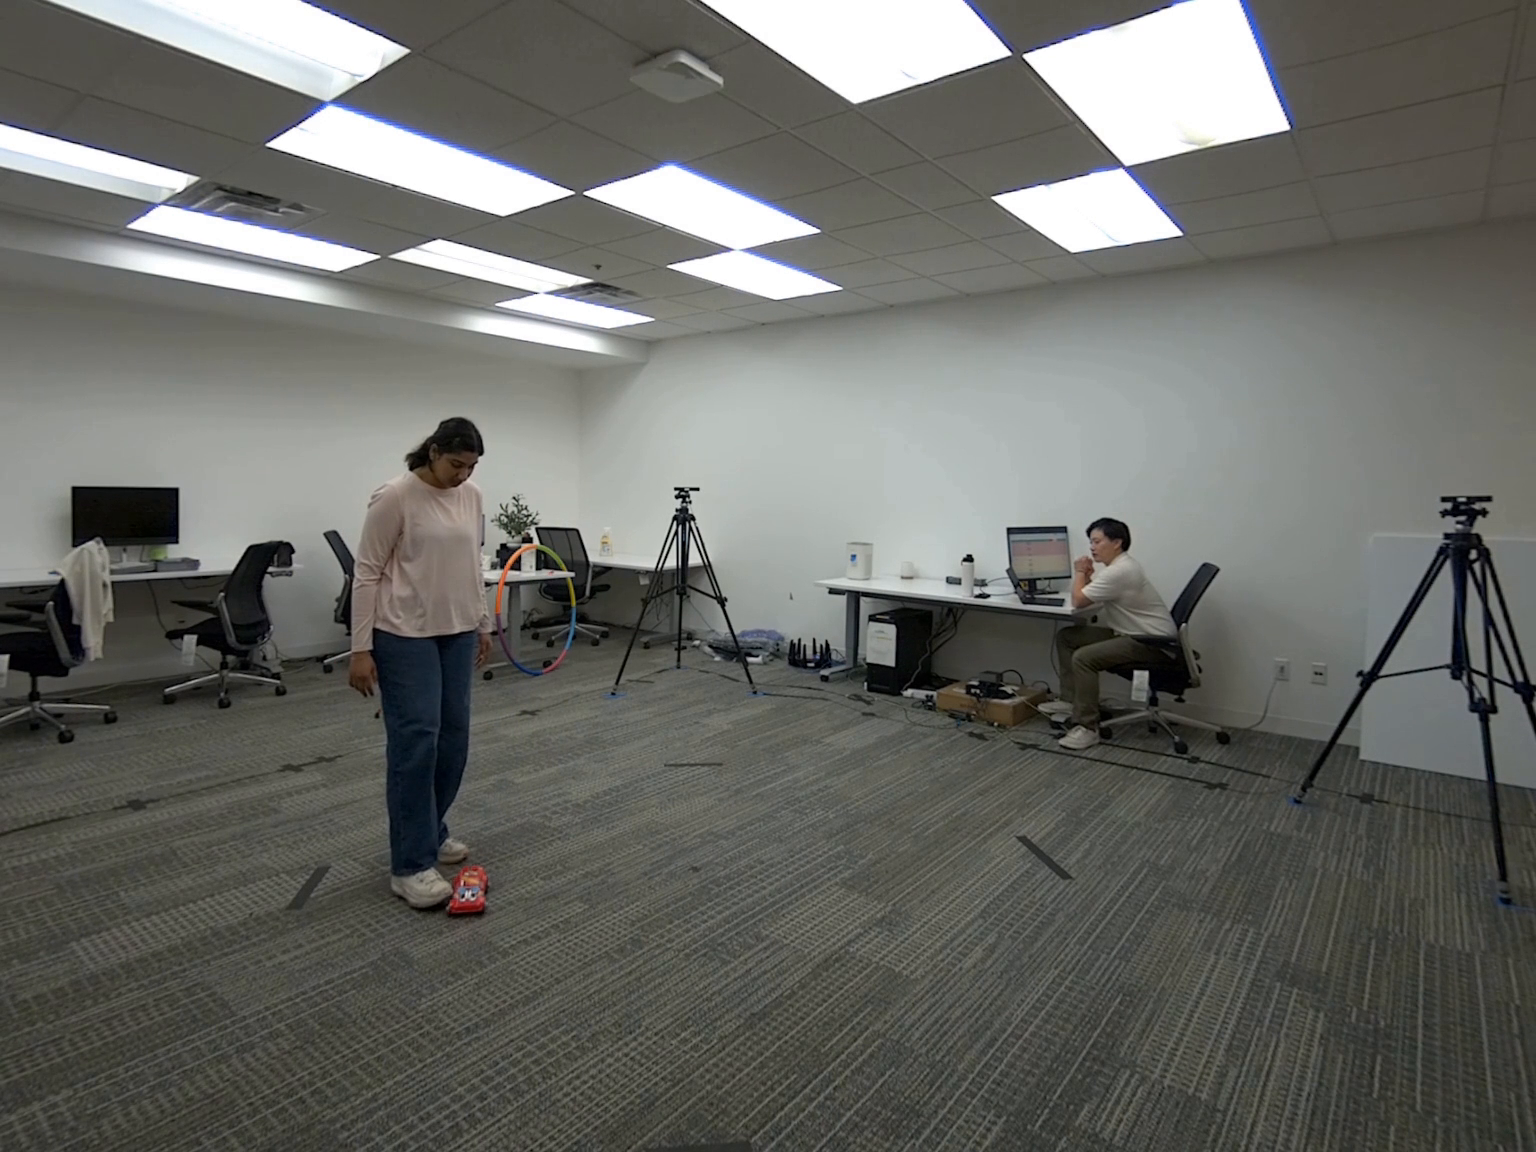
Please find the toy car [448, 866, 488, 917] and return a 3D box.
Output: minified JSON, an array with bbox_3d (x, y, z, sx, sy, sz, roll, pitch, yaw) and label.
[{"bbox_3d":[-1.008,1.053,2.839,0.128,0.082,0.261,0,17,-14],"label":"toy car"}]
